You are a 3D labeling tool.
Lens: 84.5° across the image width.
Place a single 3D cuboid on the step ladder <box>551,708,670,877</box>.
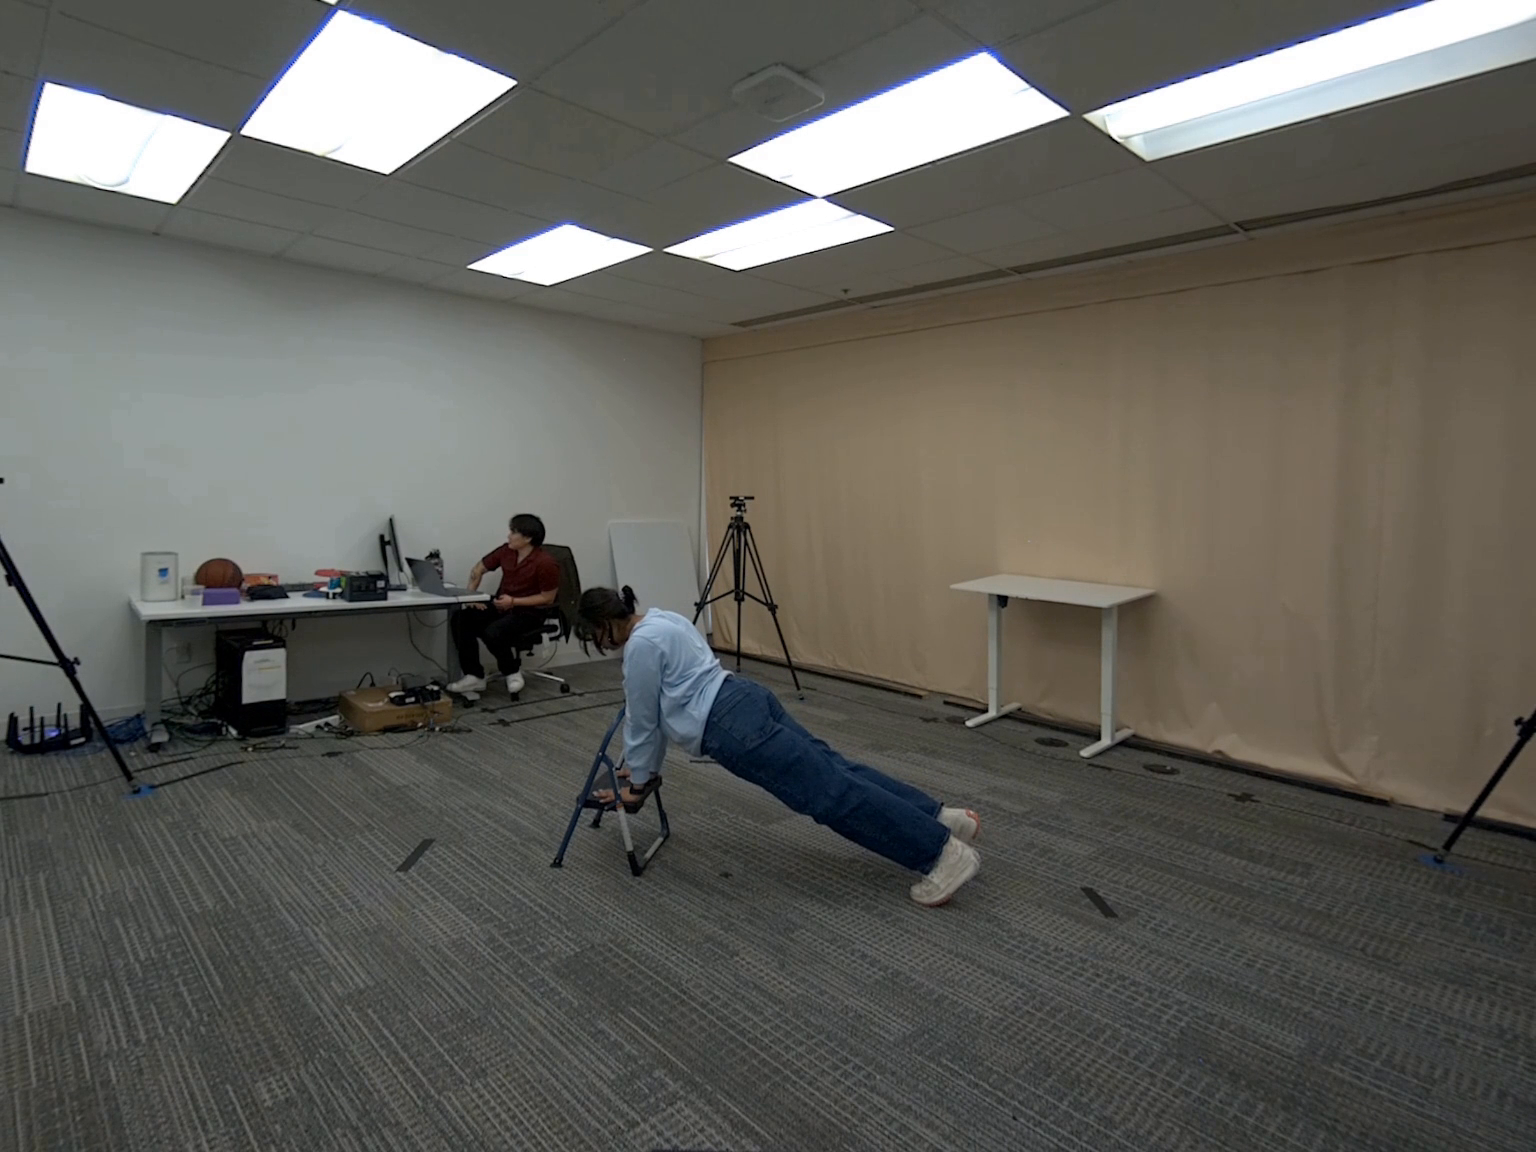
[{"bbox_3d":[-0.602,0.773,3.290,0.352,0.604,0.428,2,4,10],"label":"step ladder"}]
